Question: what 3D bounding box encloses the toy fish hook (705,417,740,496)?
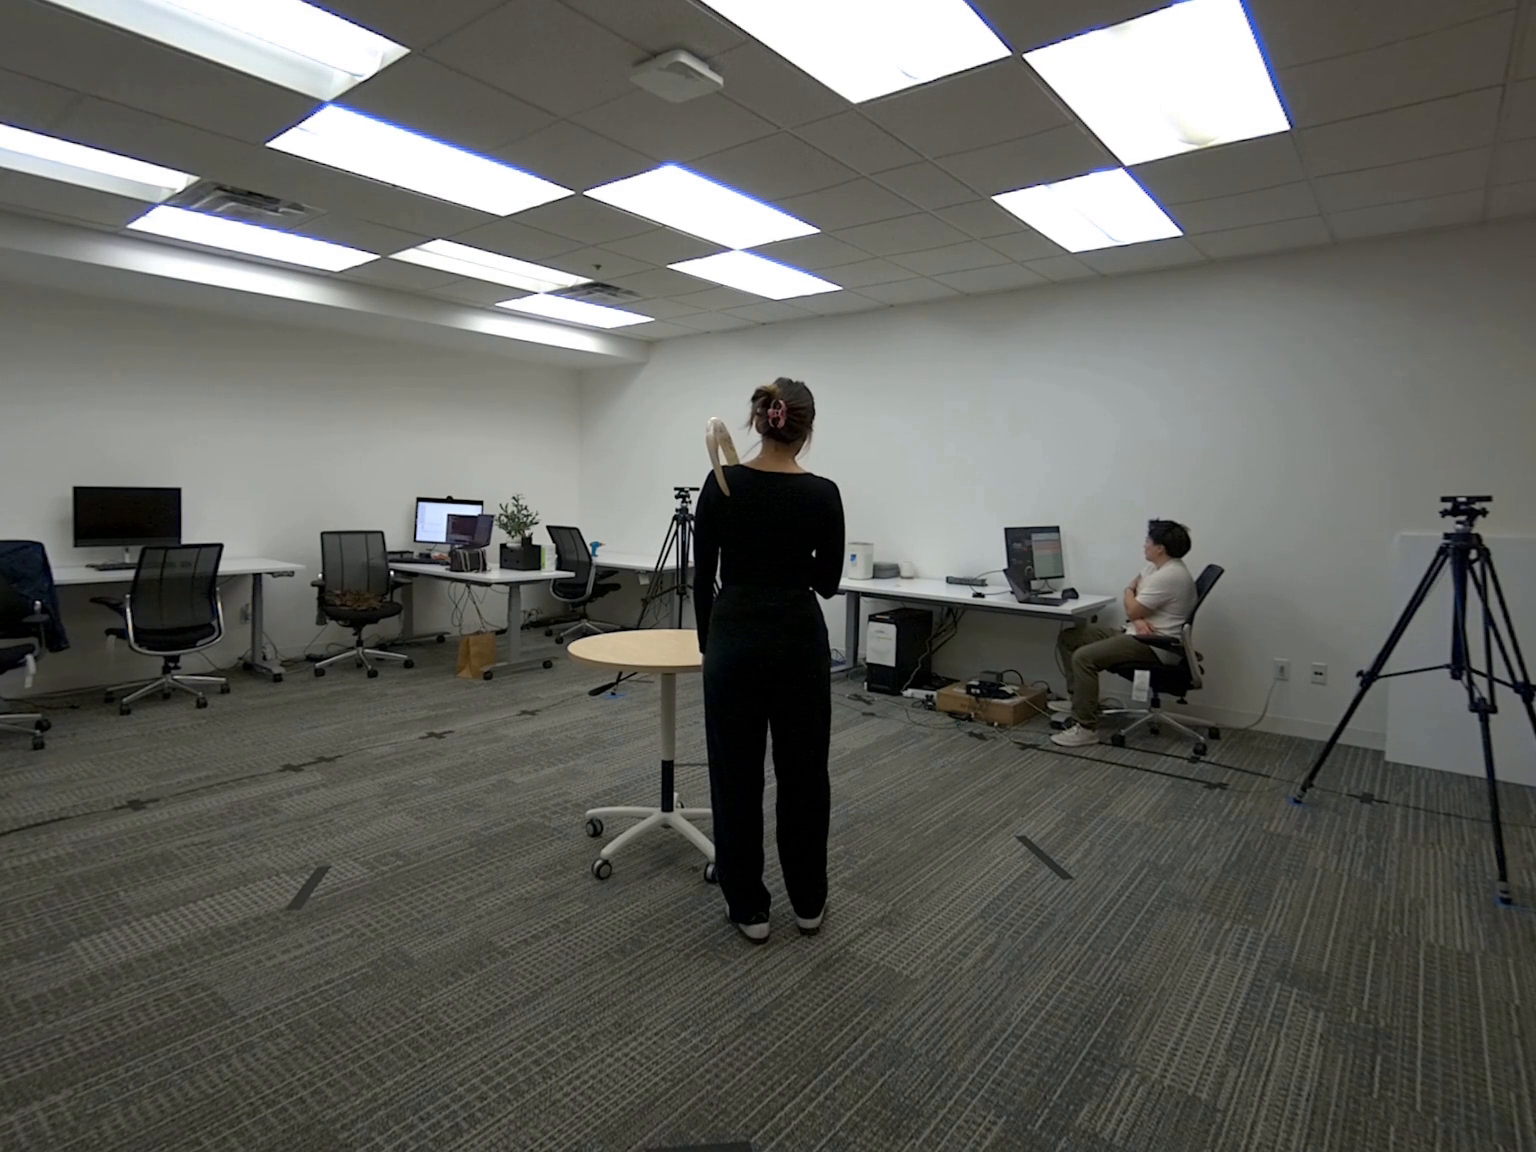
[{"bbox_3d":[-0.100,-0.257,2.639,0.049,0.489,0.228,-9,36,20],"label":"toy fish hook"}]
